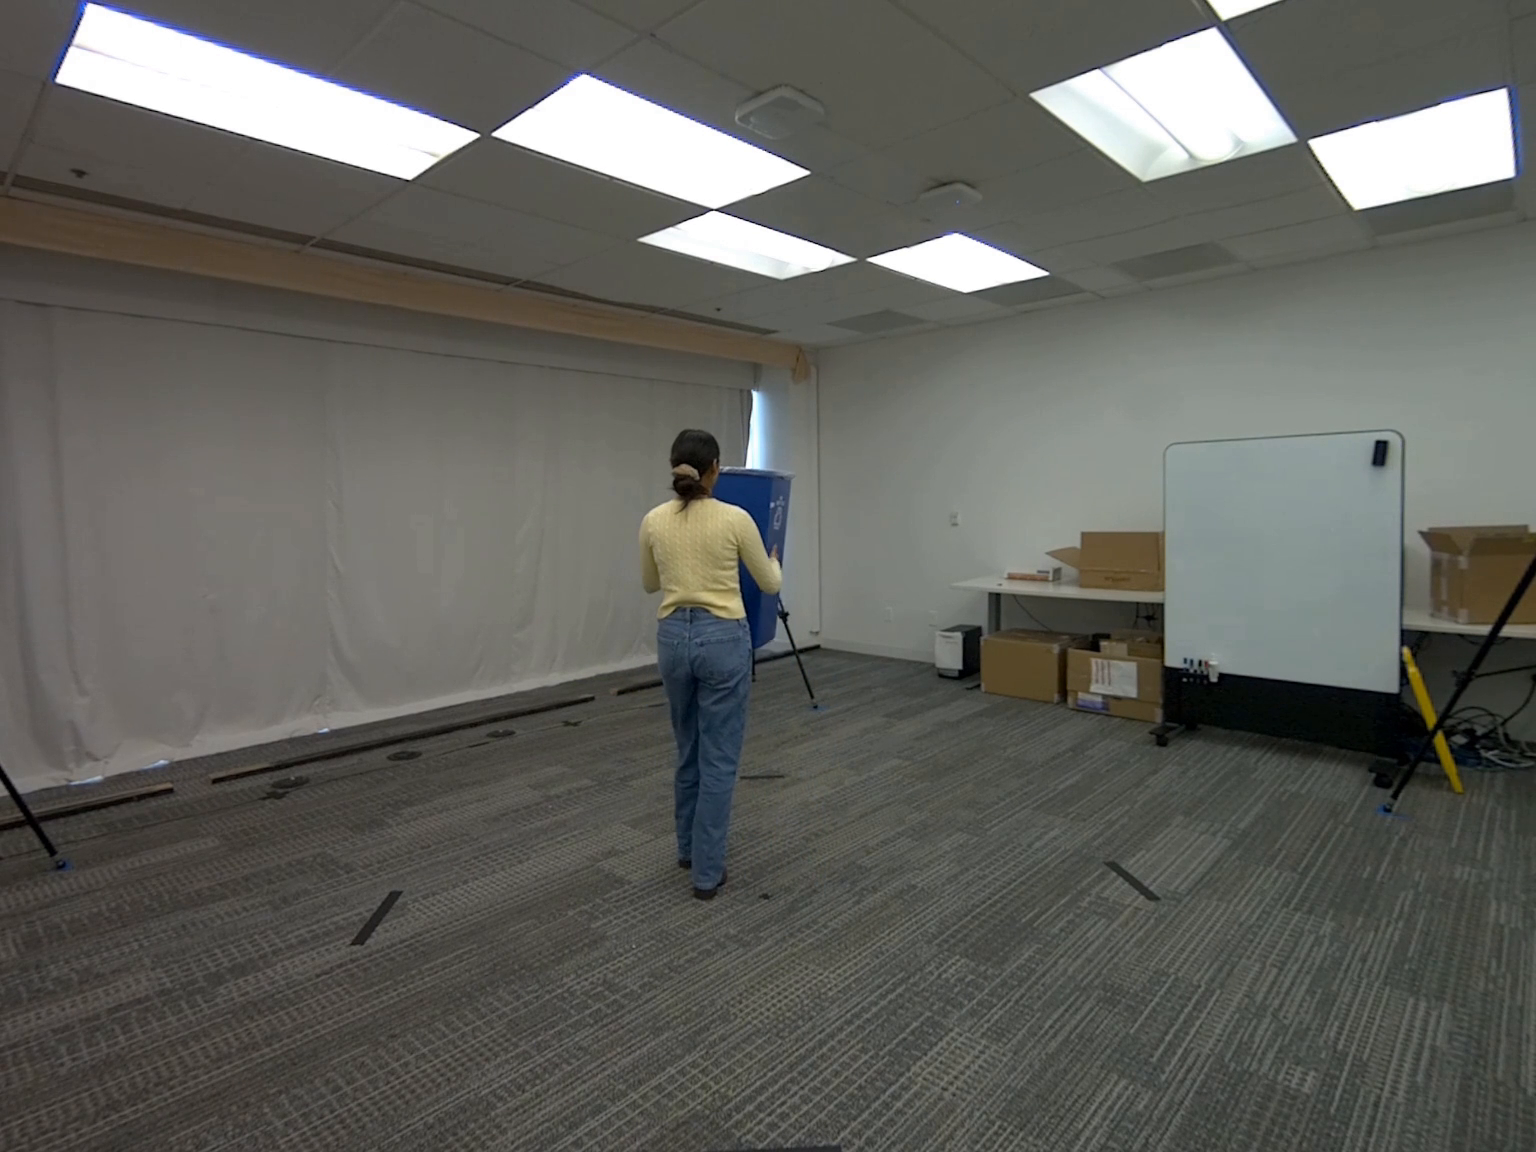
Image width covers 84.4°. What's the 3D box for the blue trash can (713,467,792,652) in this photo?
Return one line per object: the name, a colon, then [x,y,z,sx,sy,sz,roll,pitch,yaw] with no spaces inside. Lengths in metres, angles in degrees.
blue trash can: [-0.125,-0.090,3.499,0.385,0.711,0.368,6,5,16]
